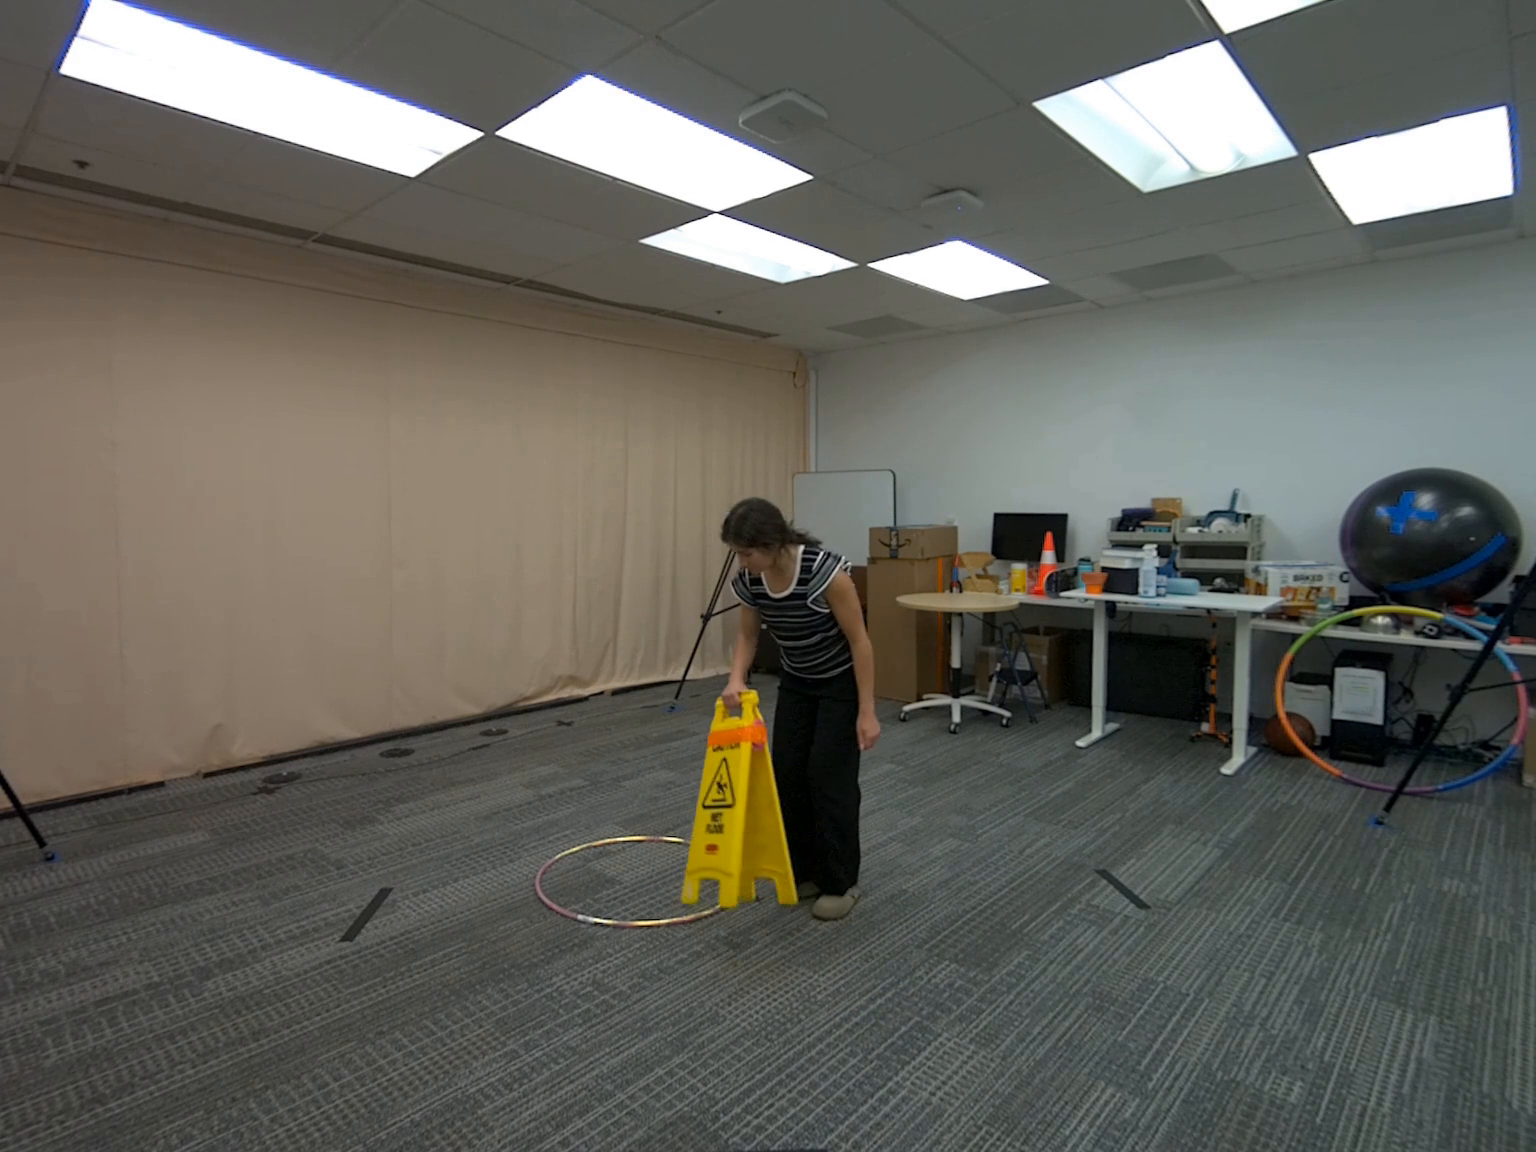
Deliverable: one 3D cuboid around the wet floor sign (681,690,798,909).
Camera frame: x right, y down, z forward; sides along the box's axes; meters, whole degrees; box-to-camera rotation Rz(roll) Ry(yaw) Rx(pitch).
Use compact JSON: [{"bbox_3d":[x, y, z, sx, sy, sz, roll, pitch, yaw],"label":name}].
[{"bbox_3d":[-0.086,0.700,2.726,0.280,0.653,0.289,13,-22,-37],"label":"wet floor sign"}]
